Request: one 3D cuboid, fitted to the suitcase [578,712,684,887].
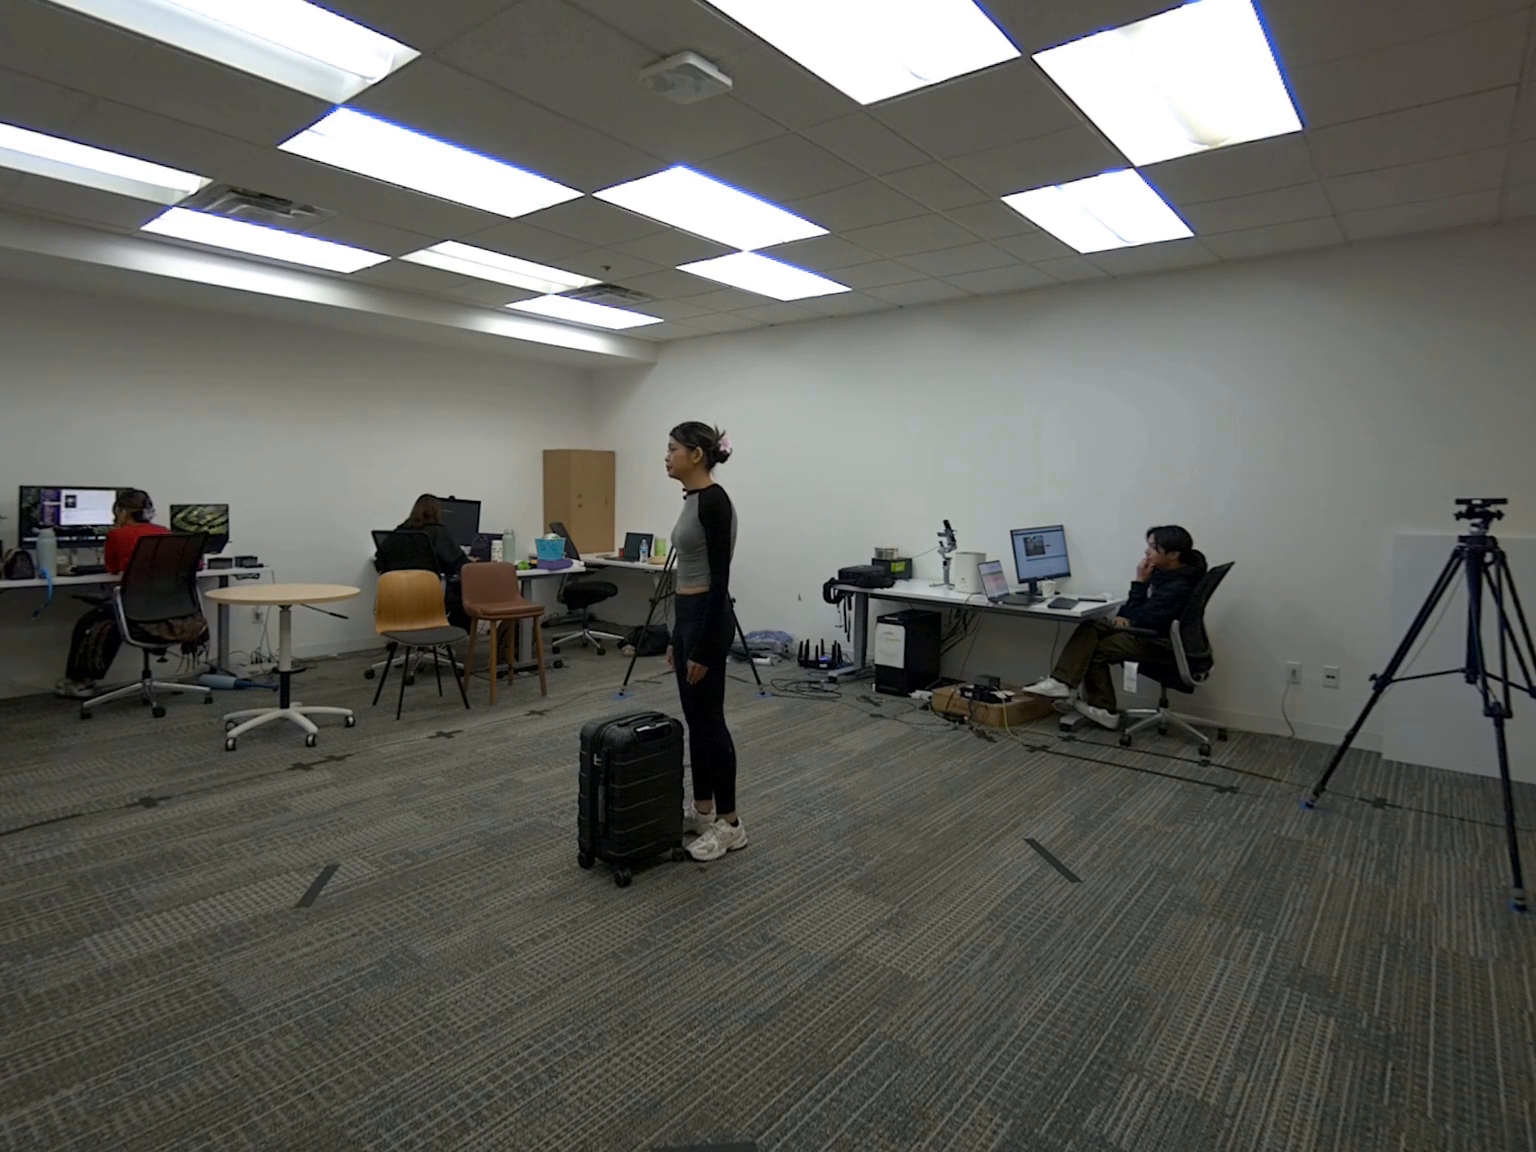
[{"bbox_3d":[-0.522,0.786,3.149,0.256,0.549,0.364,1,2,40],"label":"suitcase"}]
